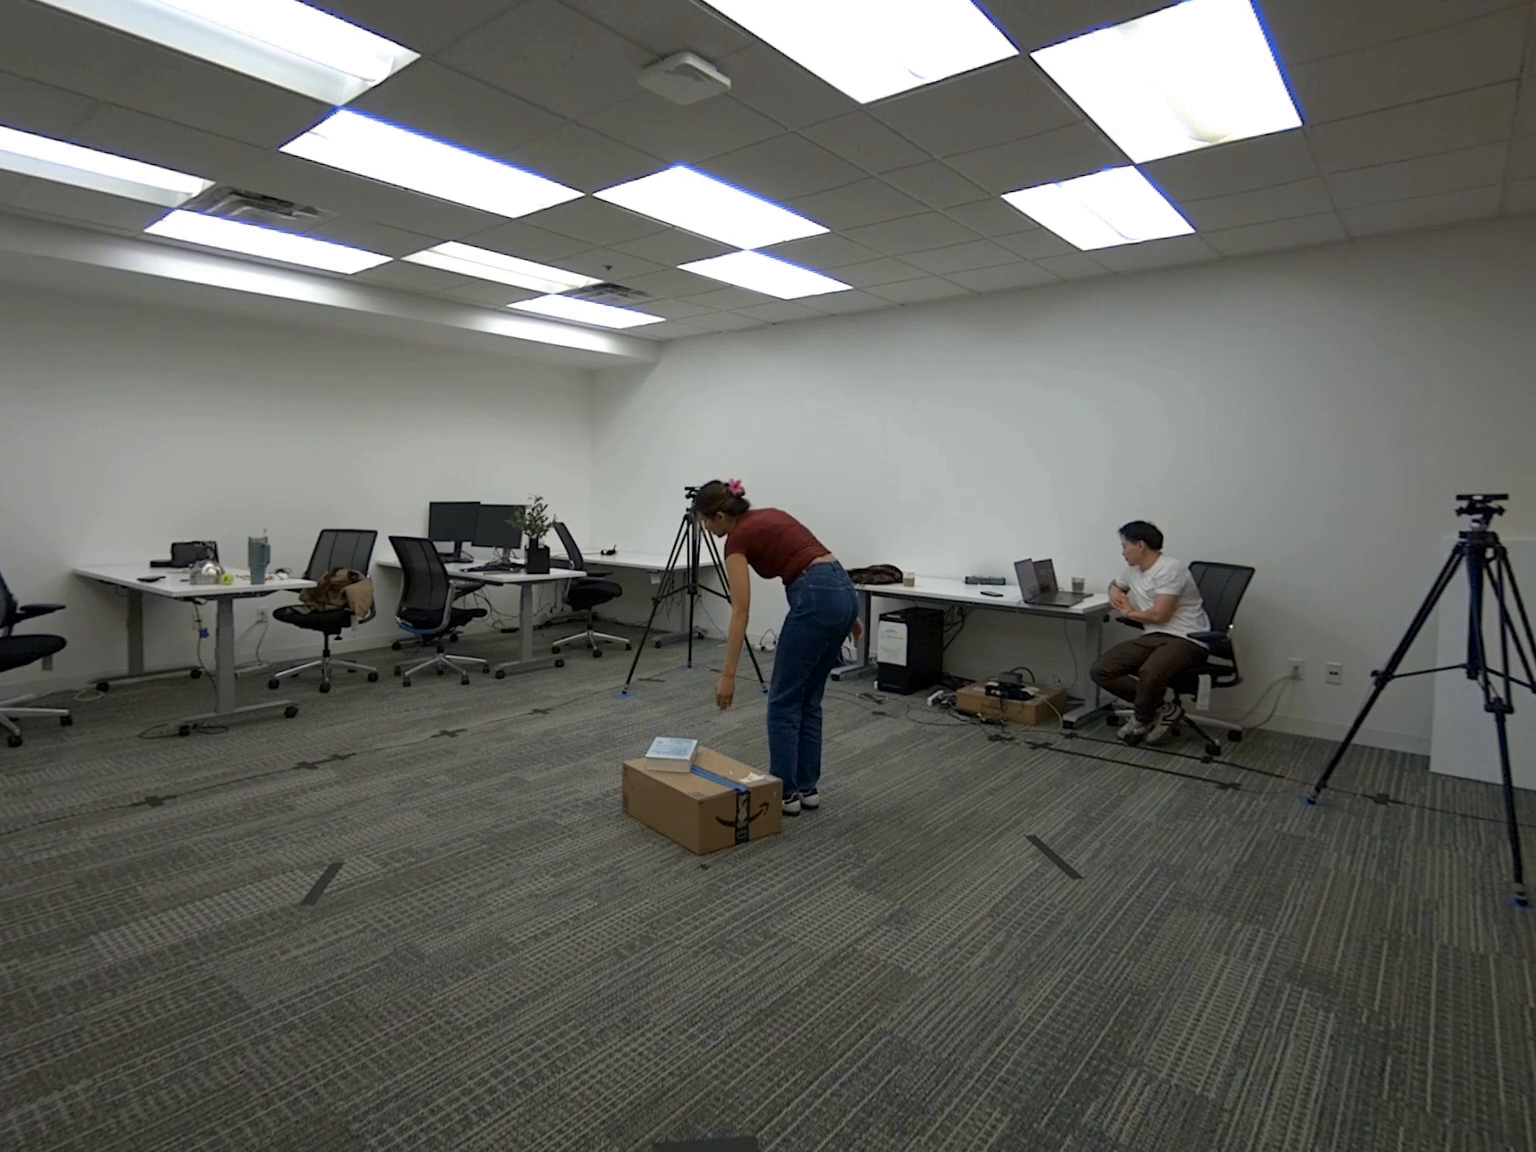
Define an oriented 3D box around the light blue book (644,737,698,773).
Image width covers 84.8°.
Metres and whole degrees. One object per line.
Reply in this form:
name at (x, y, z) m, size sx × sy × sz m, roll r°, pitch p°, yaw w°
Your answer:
light blue book at (-0.428, 0.764, 3.668) m, size 0.192 × 0.059 × 0.261 m, roll 2°, pitch 7°, yaw 4°
